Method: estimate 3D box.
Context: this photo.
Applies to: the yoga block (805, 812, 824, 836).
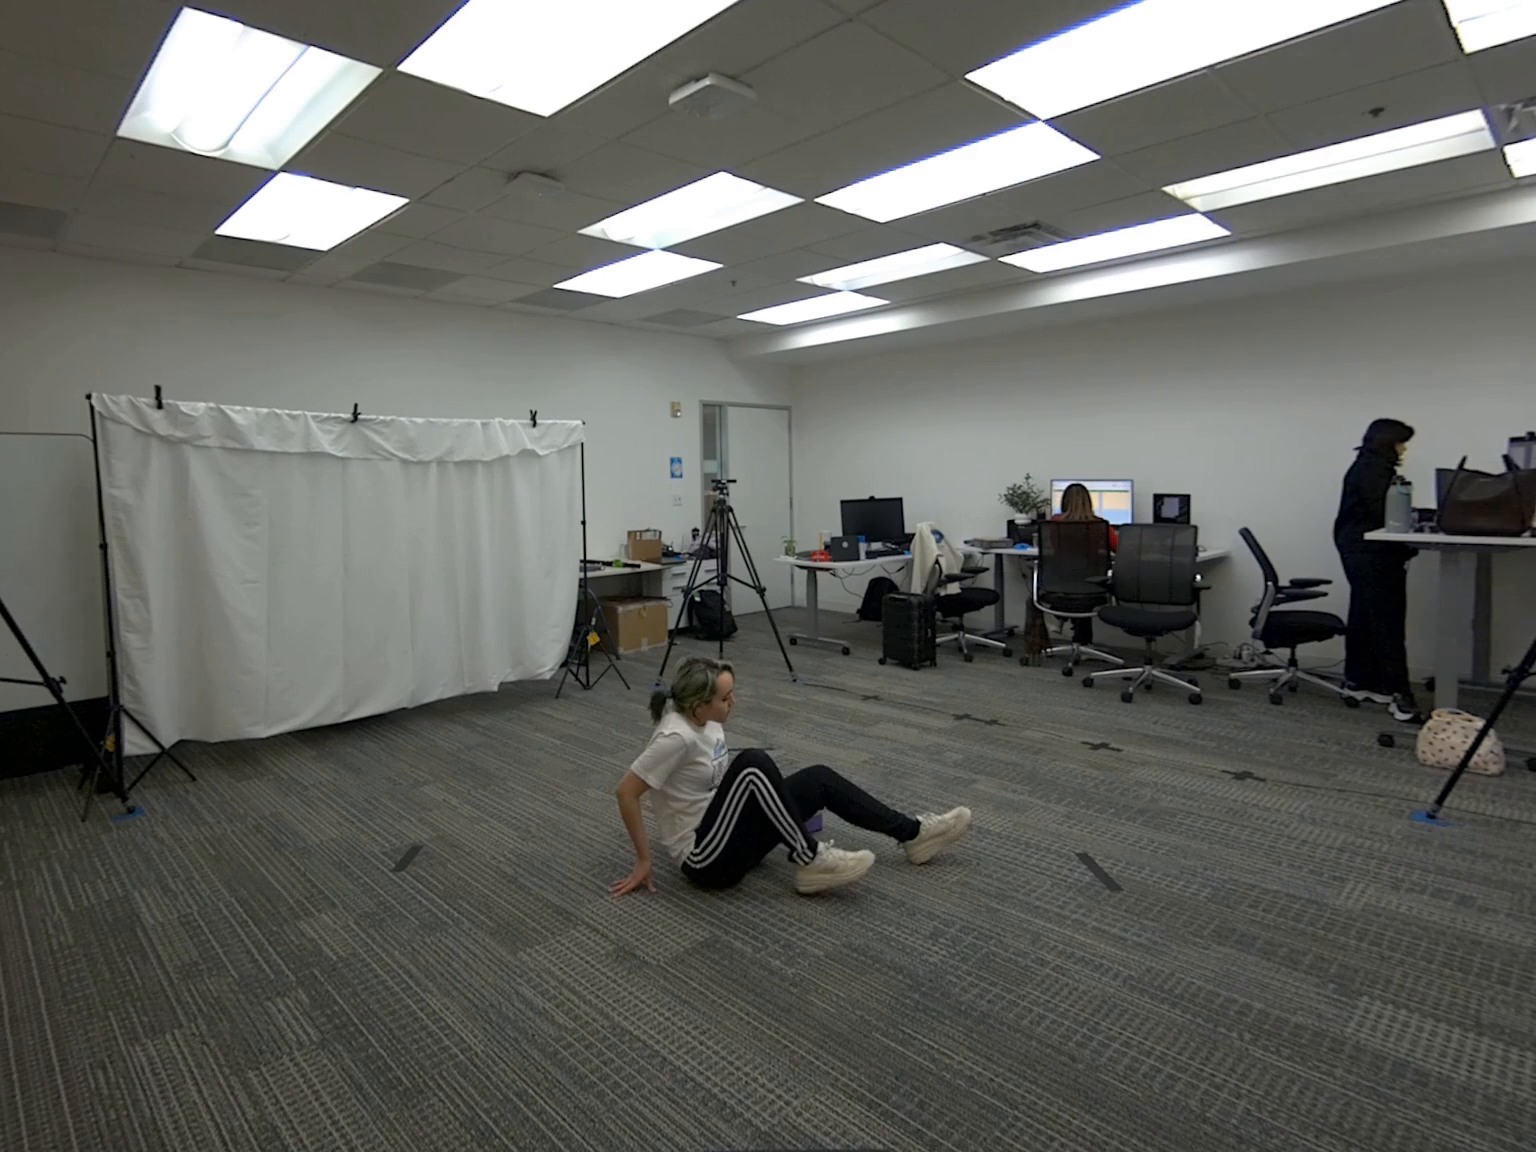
[{"bbox_3d":[0.105,0.967,3.454,0.145,0.076,0.236,-4,6,-32],"label":"yoga block"}]
